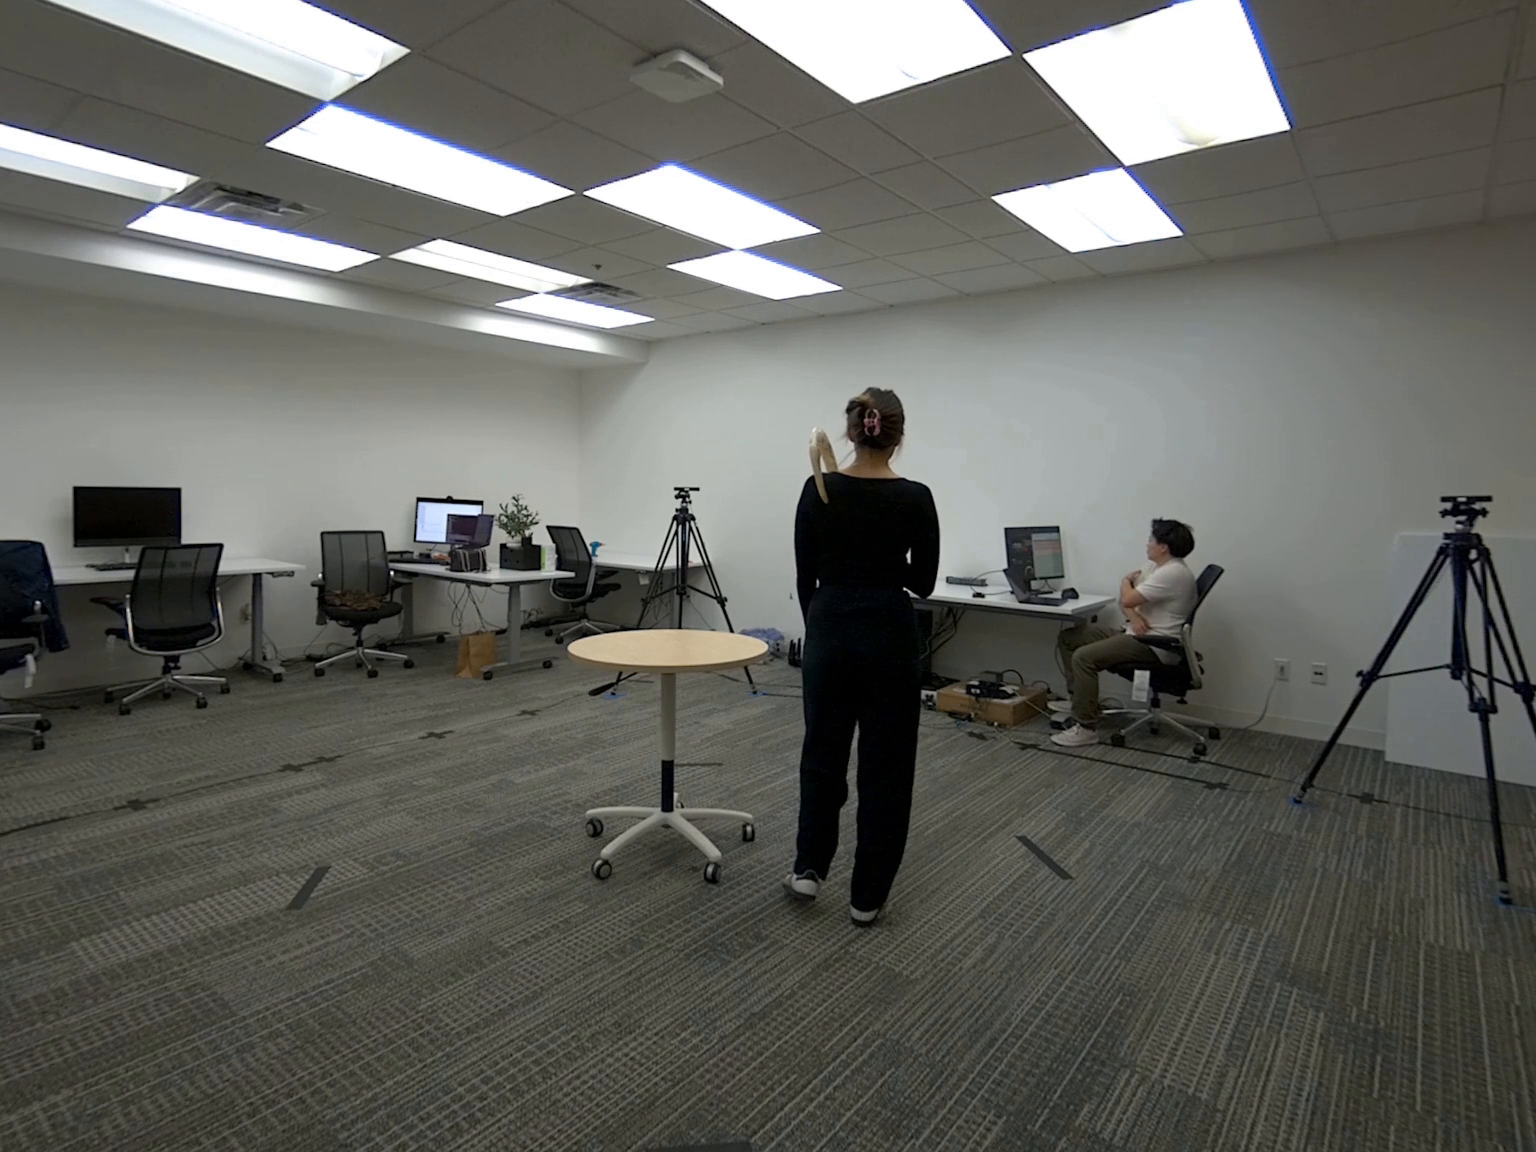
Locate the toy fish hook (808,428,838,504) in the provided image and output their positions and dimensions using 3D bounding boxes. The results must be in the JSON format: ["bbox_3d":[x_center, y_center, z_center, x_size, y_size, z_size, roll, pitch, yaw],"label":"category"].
[{"bbox_3d":[0.208,-0.252,2.783,0.049,0.488,0.228,-7,39,23],"label":"toy fish hook"}]
